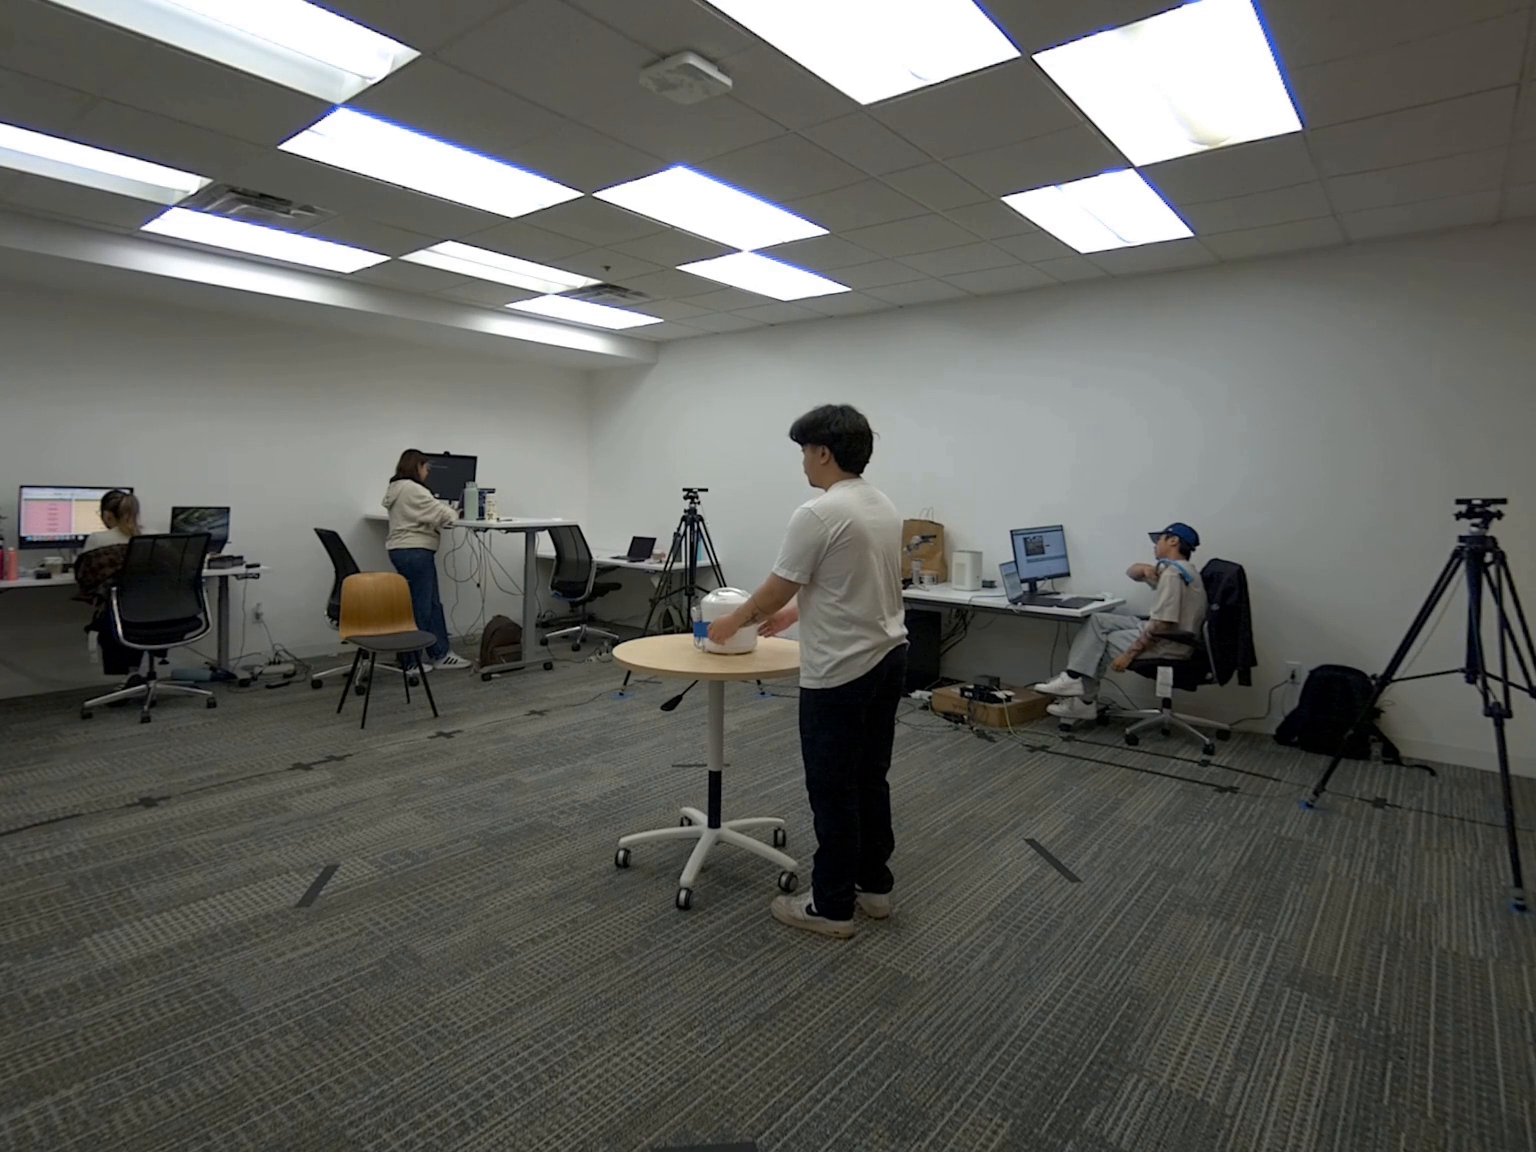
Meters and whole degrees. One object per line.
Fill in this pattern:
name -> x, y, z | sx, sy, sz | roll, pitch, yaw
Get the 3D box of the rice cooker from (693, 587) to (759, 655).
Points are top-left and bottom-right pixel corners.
rice cooker -> -0.161, 0.156, 3.133 | 0.227, 0.232, 0.212 | 3, 4, 30
